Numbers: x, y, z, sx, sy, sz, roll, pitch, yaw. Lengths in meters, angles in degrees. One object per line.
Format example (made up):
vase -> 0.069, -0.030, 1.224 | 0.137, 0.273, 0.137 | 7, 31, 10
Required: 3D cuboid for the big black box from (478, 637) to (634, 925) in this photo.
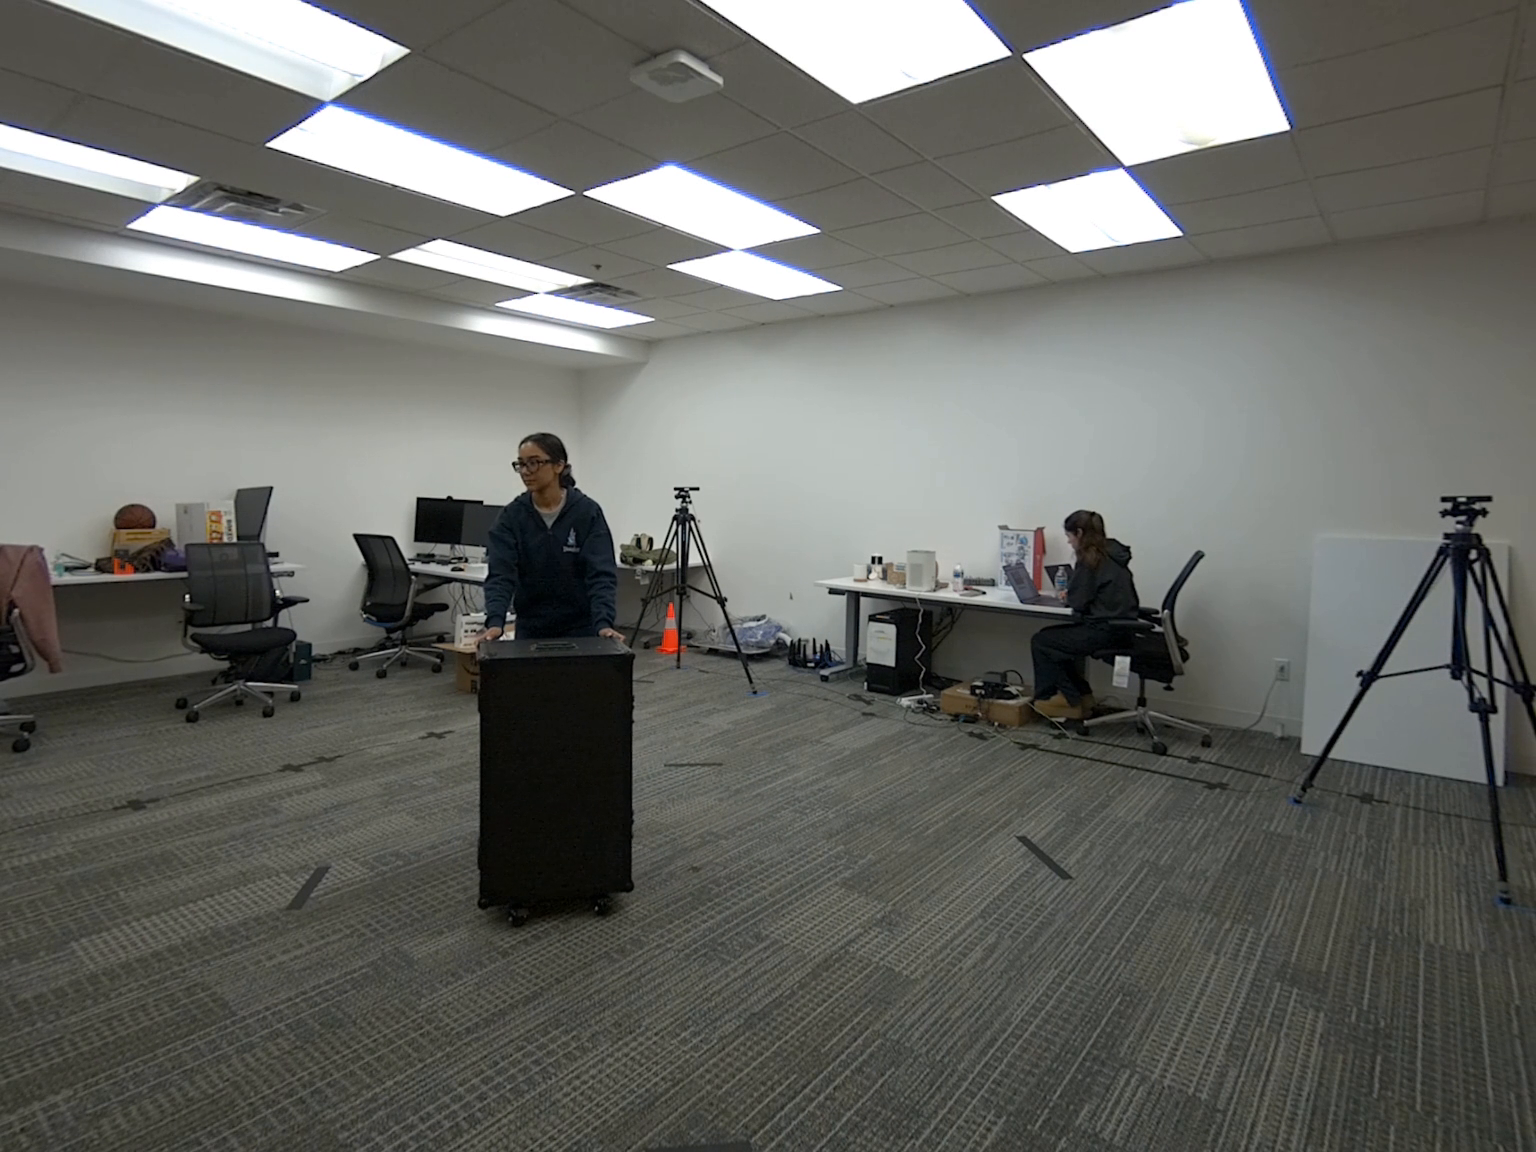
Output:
big black box -> -0.741, 0.661, 2.869 | 0.513, 0.860, 0.403 | -2, 2, -16
